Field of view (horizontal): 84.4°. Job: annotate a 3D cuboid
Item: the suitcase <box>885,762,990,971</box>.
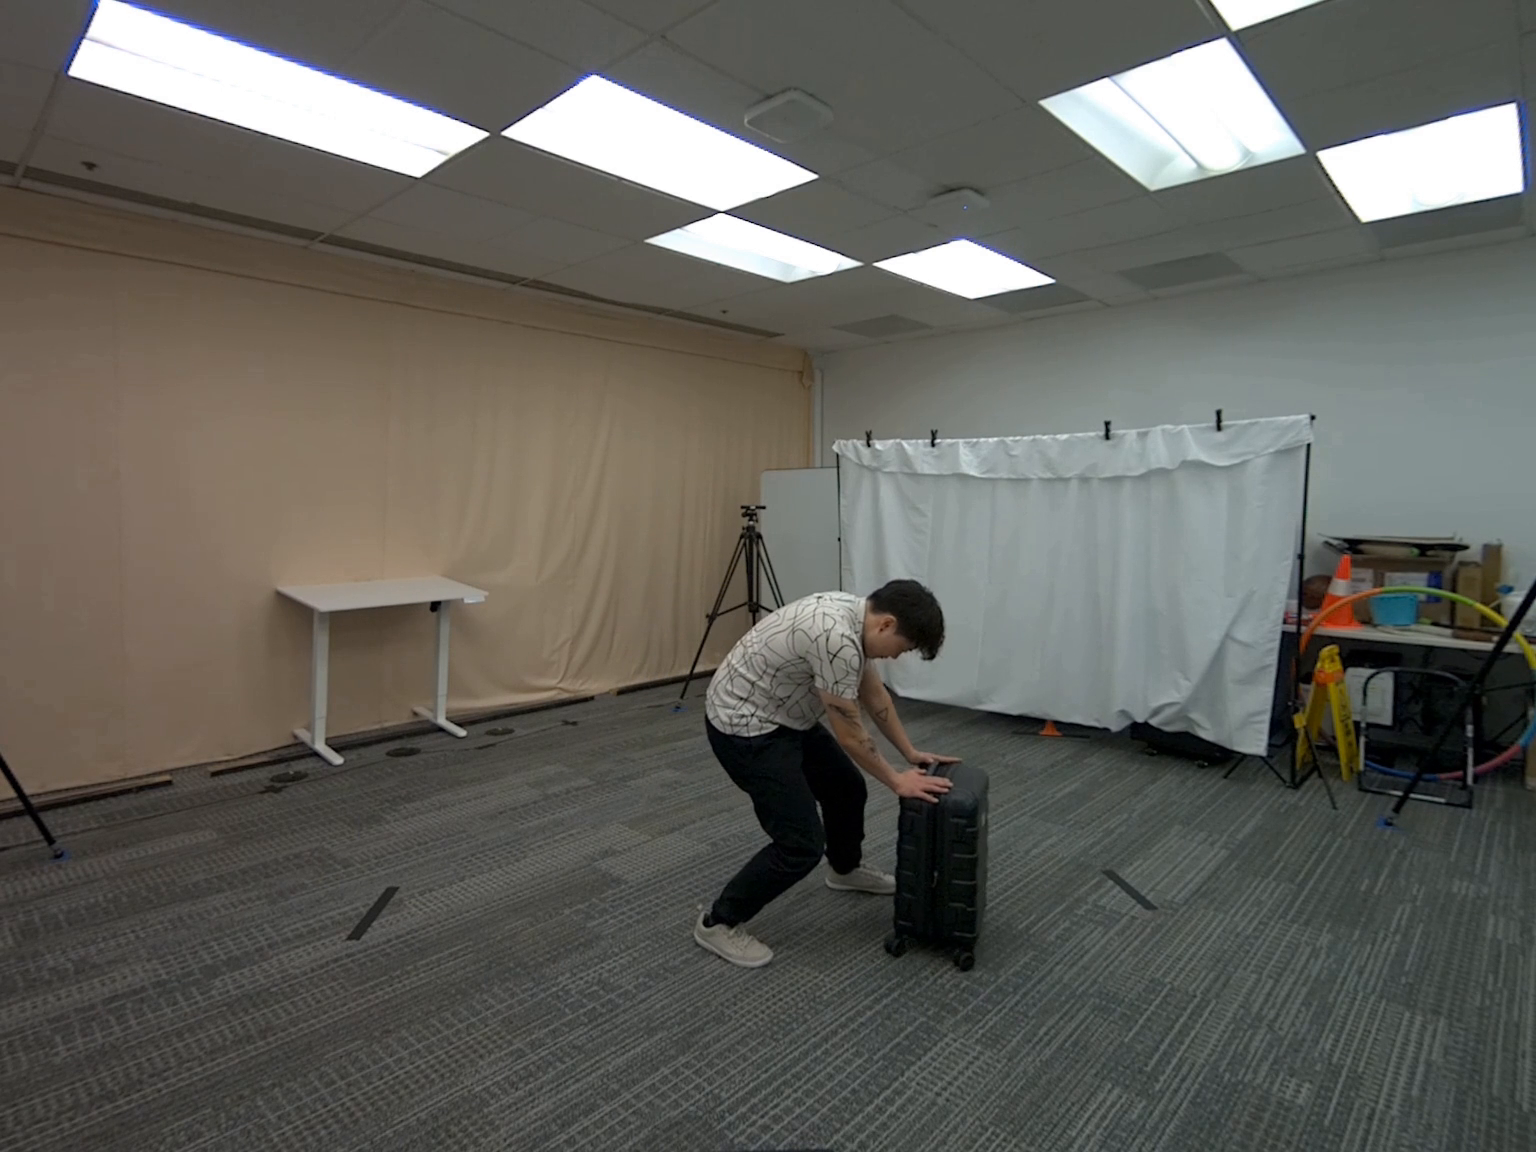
[{"bbox_3d":[0.569,0.895,2.698,0.254,0.548,0.368,4,4,19],"label":"suitcase"}]
